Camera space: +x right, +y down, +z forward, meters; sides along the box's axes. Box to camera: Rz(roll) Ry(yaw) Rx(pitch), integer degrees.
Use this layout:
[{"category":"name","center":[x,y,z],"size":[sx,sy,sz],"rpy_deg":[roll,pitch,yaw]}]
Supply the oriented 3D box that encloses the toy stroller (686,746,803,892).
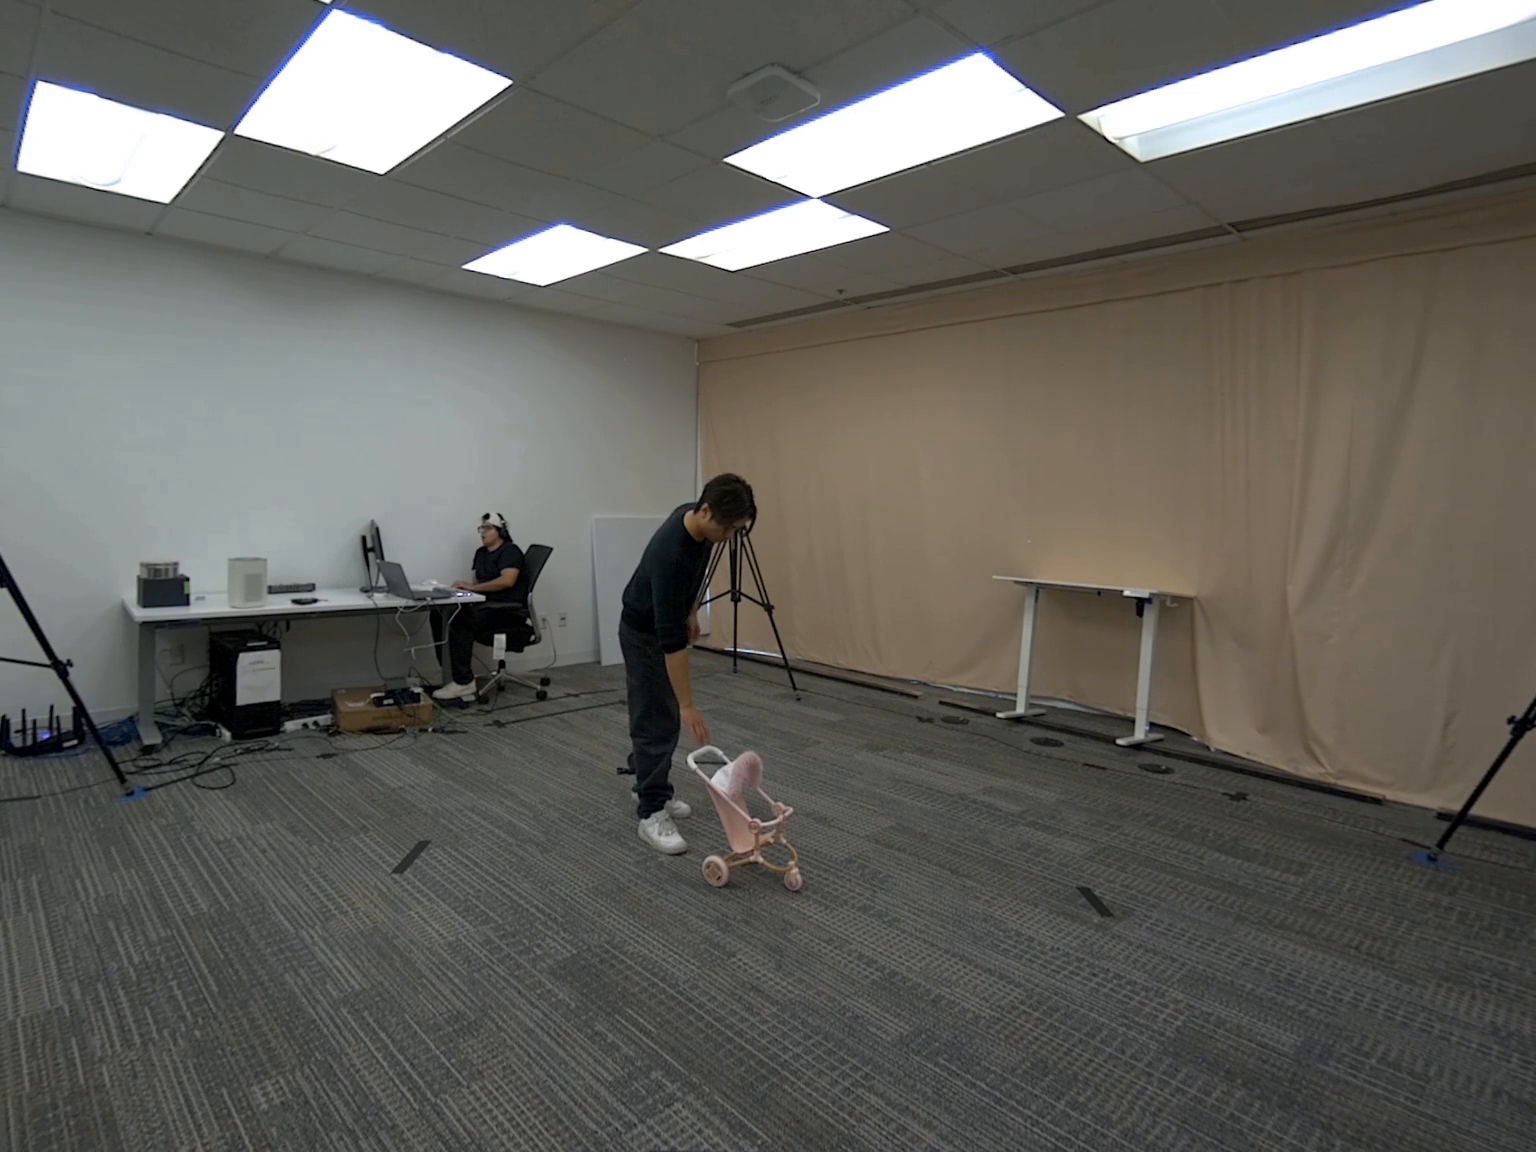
[{"category":"toy stroller","center":[-0.077,0.884,3.079],"size":[0.347,0.537,0.276],"rpy_deg":[-15,-6,33]}]
